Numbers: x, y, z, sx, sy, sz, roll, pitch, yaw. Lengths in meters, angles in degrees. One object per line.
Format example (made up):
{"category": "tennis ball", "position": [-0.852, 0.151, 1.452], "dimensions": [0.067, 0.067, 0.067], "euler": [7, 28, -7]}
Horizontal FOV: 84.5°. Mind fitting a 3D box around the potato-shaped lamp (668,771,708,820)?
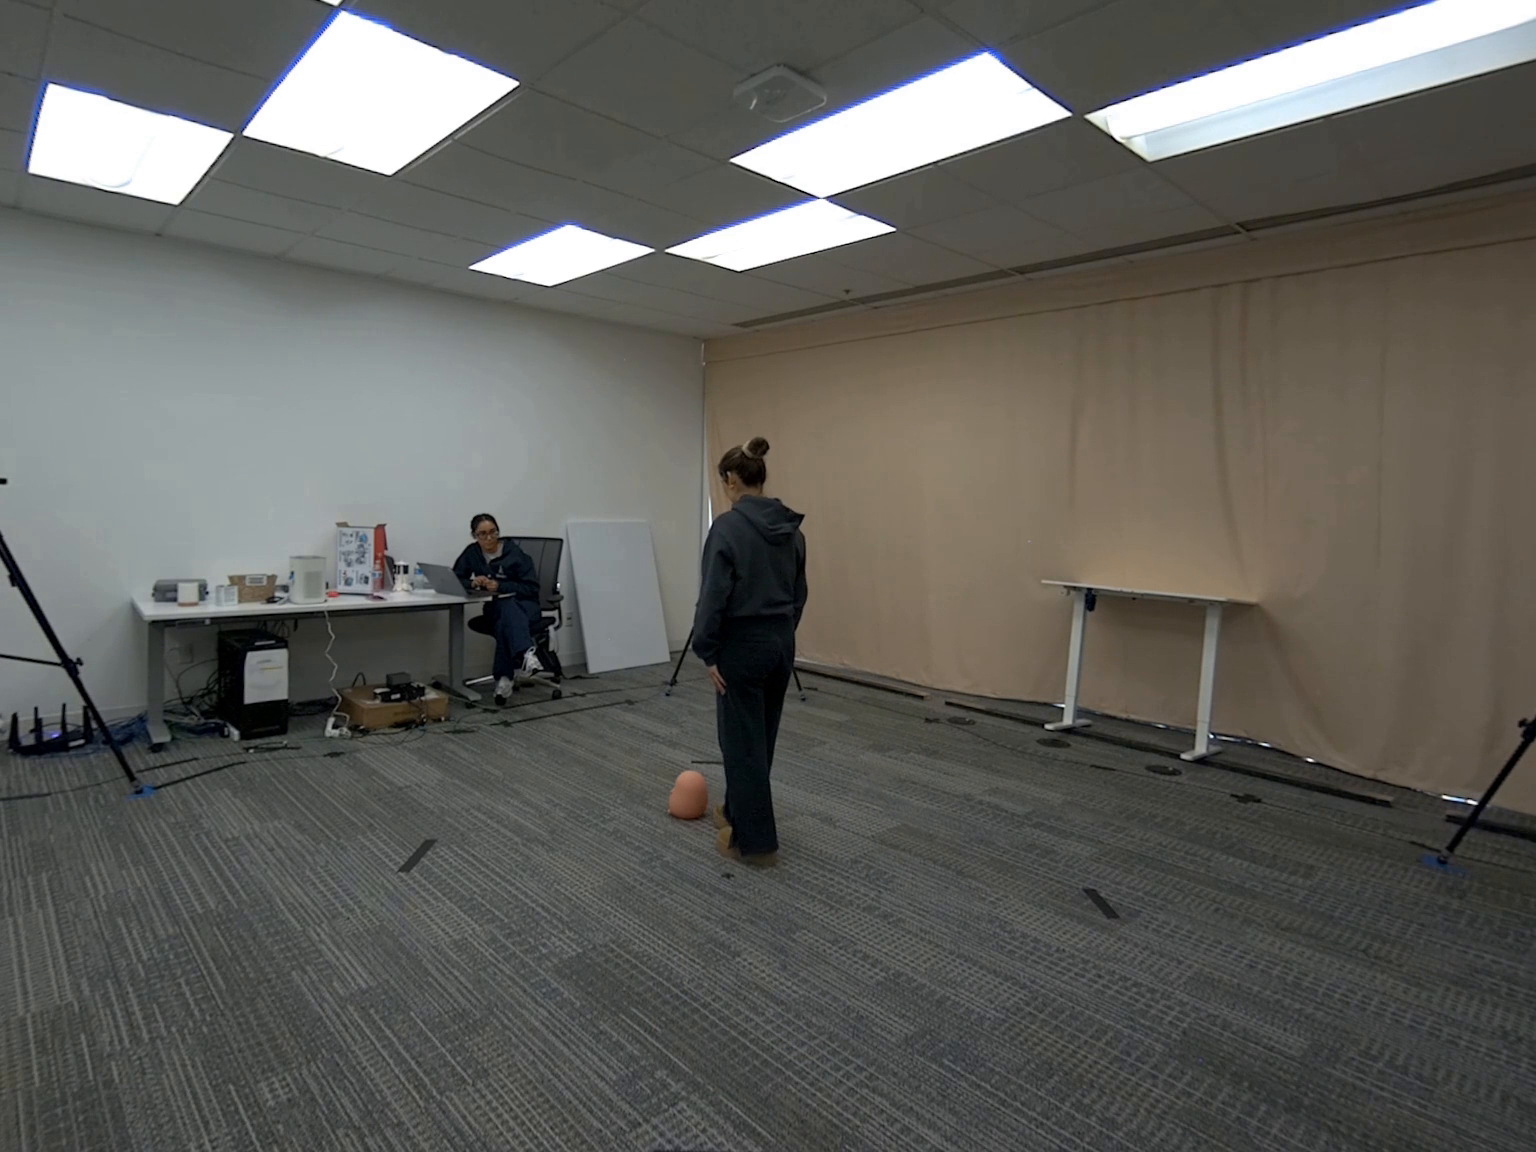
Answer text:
{"category": "potato-shaped lamp", "position": [-0.362, 0.949, 3.696], "dimensions": [0.176, 0.198, 0.161], "euler": [5, 4, 38]}
